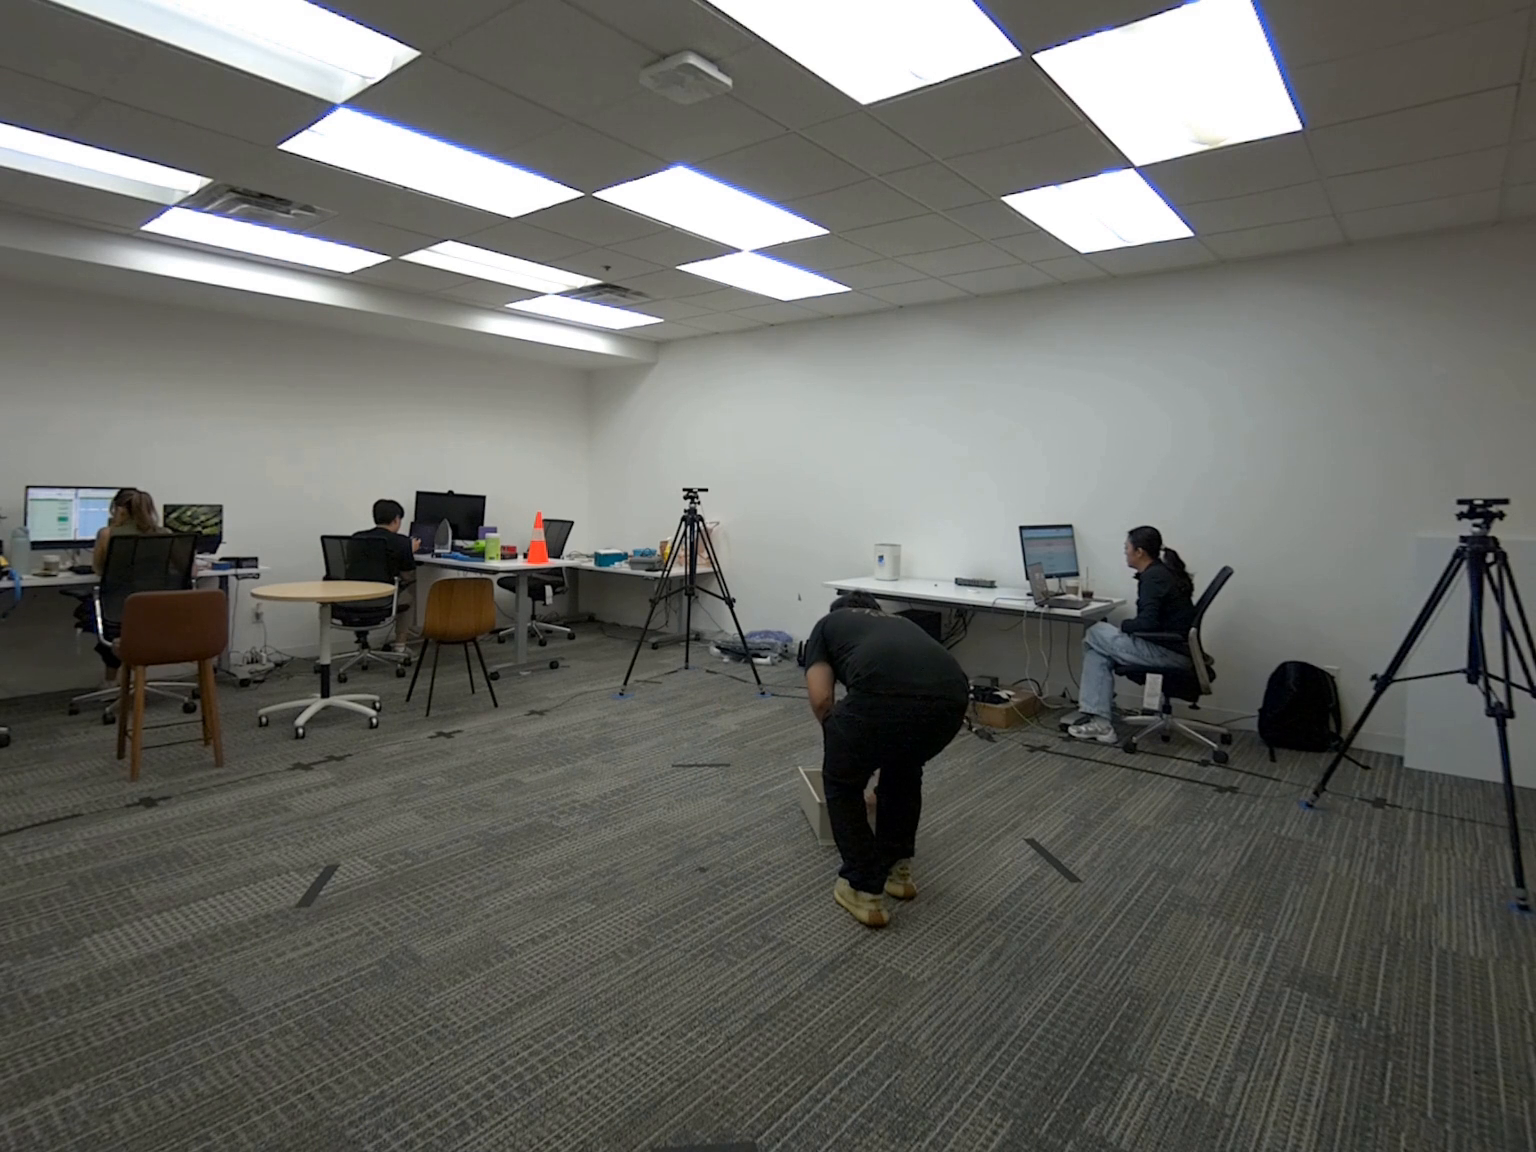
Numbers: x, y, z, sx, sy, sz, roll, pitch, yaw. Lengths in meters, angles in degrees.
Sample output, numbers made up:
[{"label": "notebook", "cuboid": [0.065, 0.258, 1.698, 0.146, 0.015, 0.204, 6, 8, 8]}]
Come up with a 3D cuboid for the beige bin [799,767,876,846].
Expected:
[{"label": "beige bin", "cuboid": [0.339, 0.947, 3.555, 0.375, 0.188, 0.427, -1, 6, -7]}]
